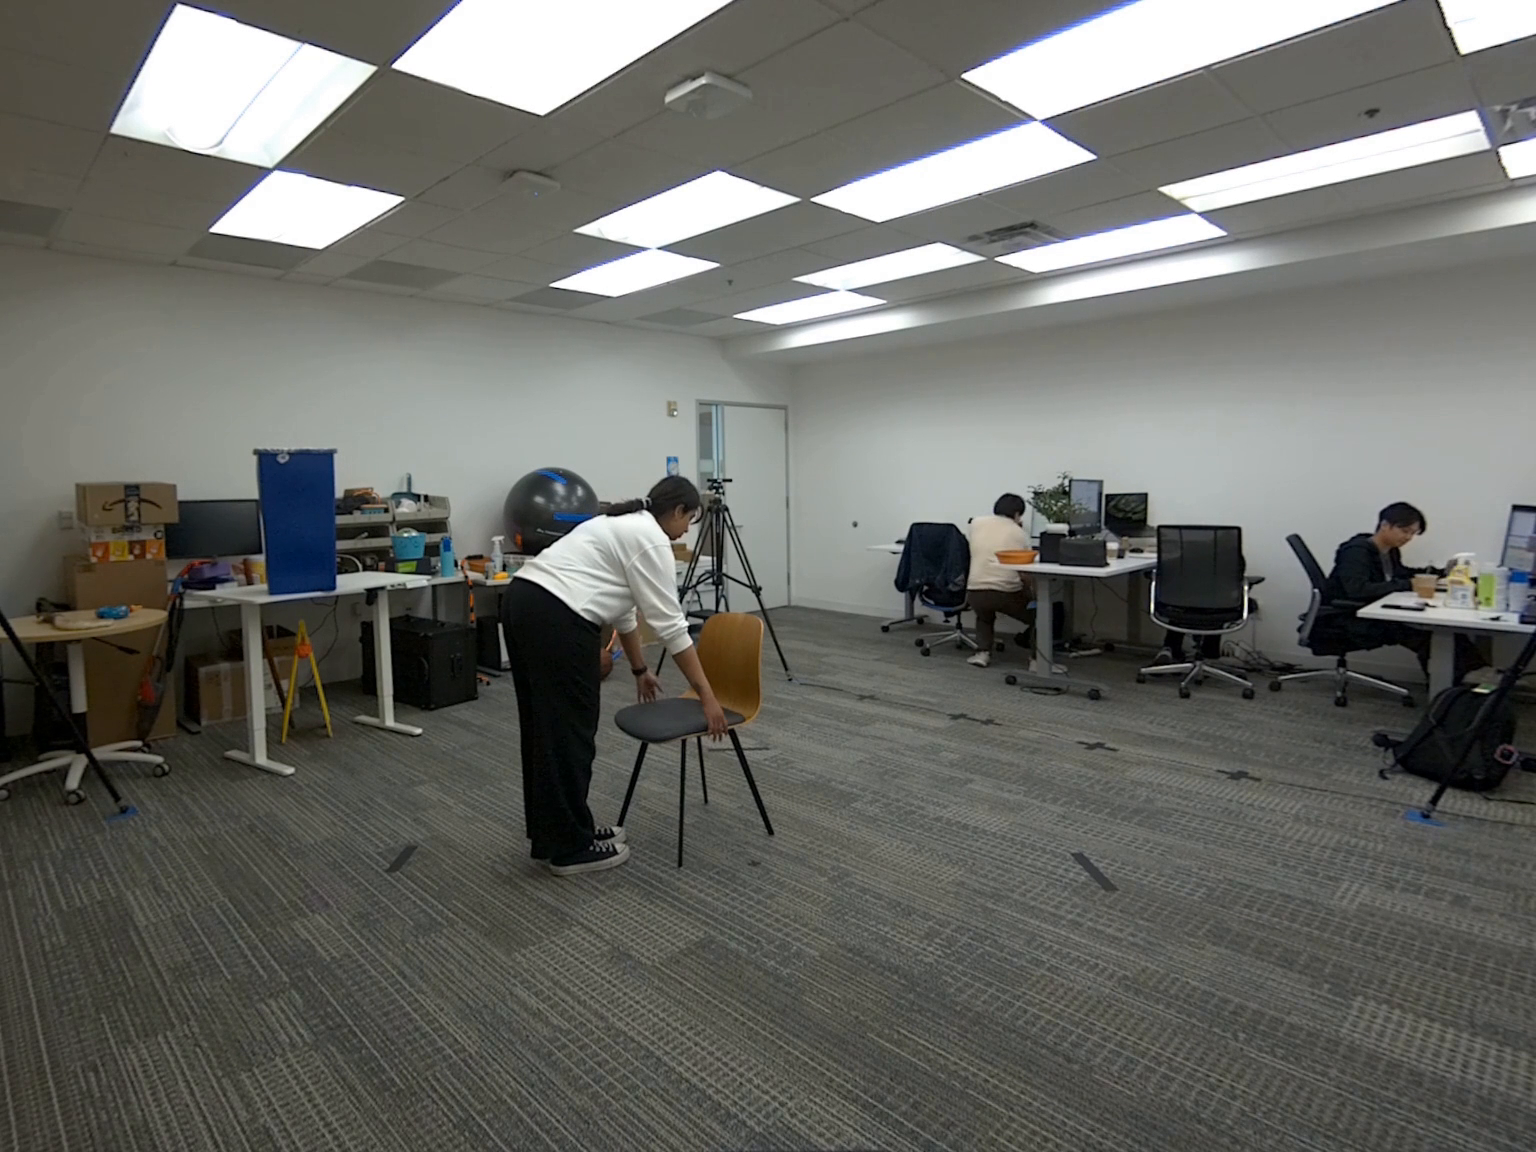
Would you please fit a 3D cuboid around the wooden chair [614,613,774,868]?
[{"bbox_3d":[-0.303,0.590,3.358,0.508,0.877,0.492,1,1,-39],"label":"wooden chair"}]
